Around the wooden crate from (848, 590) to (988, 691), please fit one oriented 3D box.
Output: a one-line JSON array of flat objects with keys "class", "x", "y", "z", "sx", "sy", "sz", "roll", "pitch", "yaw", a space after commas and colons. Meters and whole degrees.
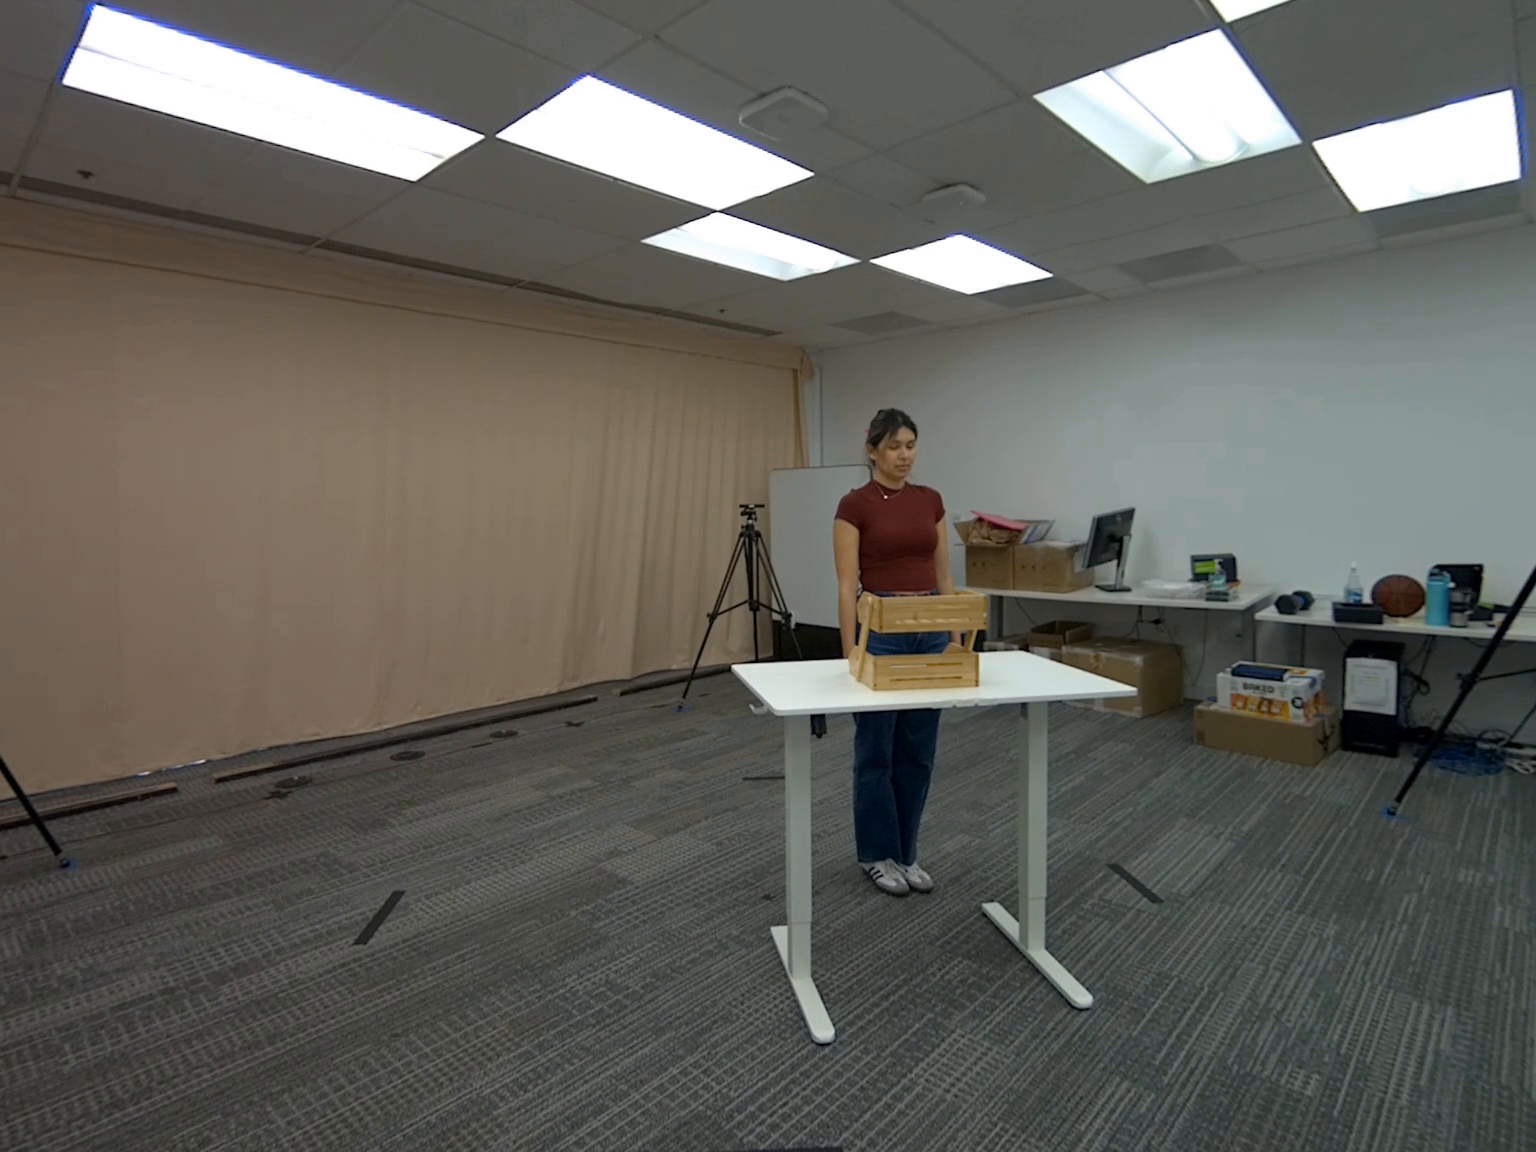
[{"class": "wooden crate", "x": 0.416, "y": 0.170, "z": 2.391, "sx": 0.322, "sy": 0.272, "sz": 0.305, "roll": -1, "pitch": 5, "yaw": -9}]
